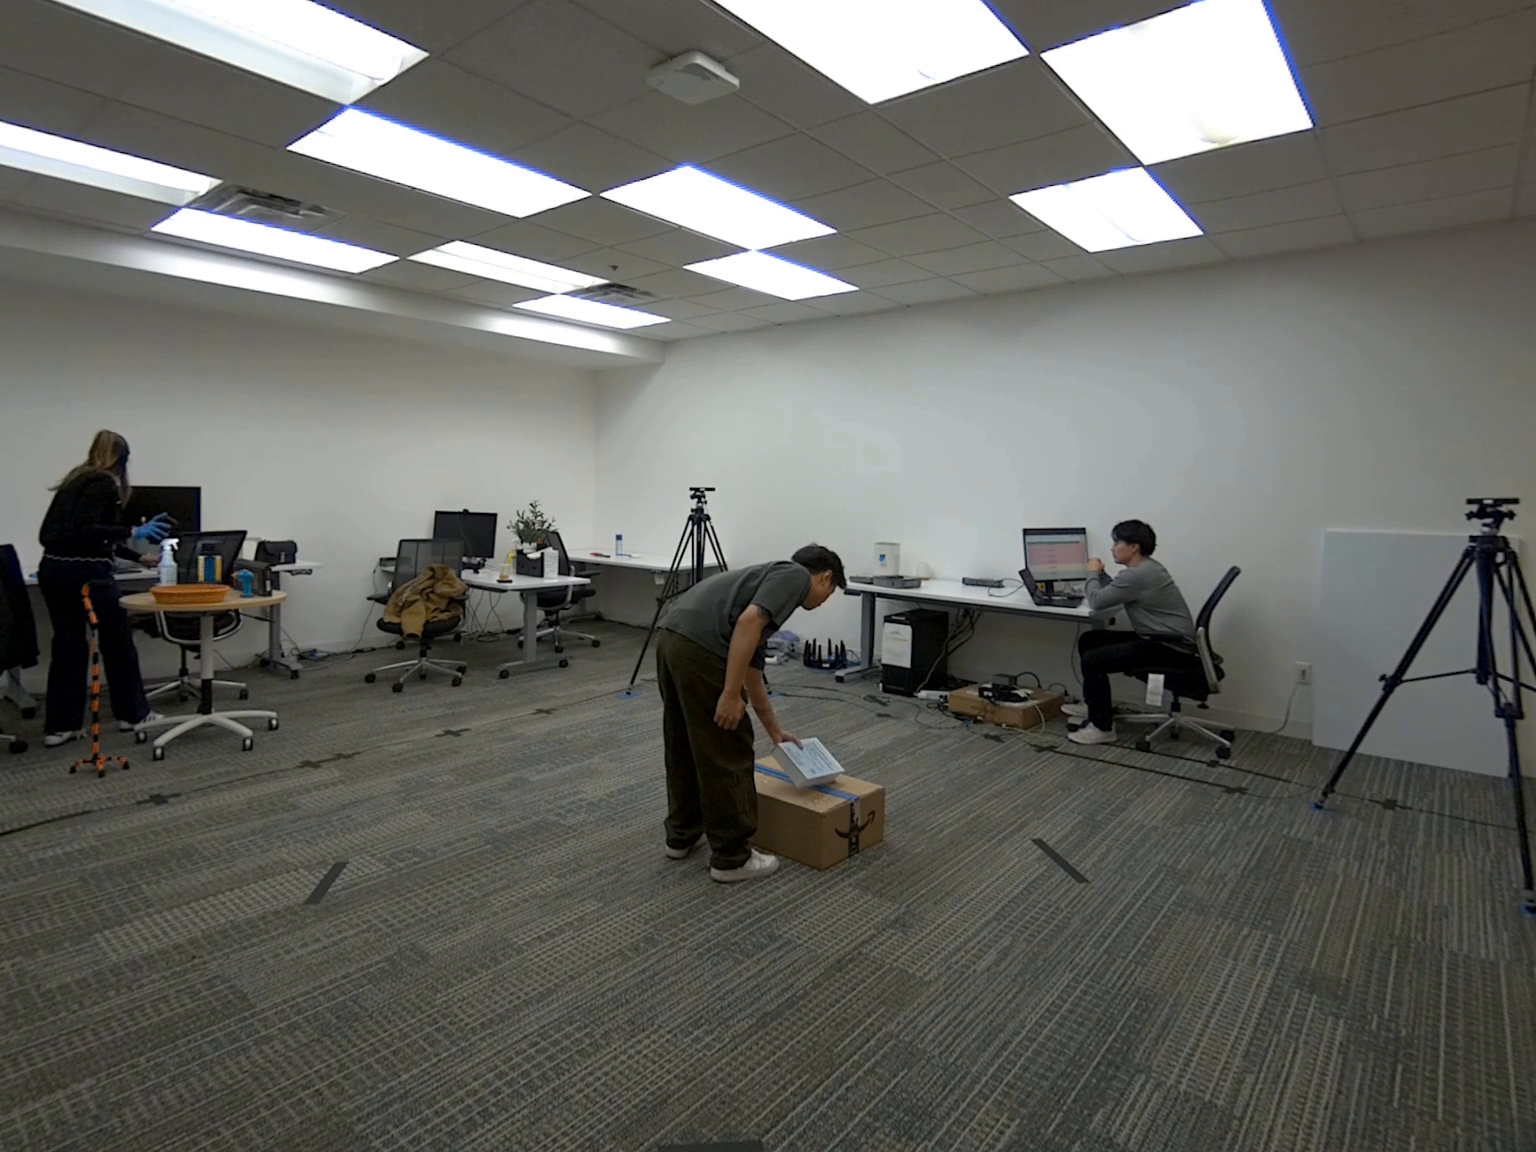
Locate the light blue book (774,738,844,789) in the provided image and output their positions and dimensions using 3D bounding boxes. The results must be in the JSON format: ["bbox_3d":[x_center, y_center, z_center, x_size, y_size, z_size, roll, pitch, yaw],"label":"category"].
[{"bbox_3d":[0.151,0.741,3.396,0.252,0.059,0.199,3,35,-50],"label":"light blue book"}]
